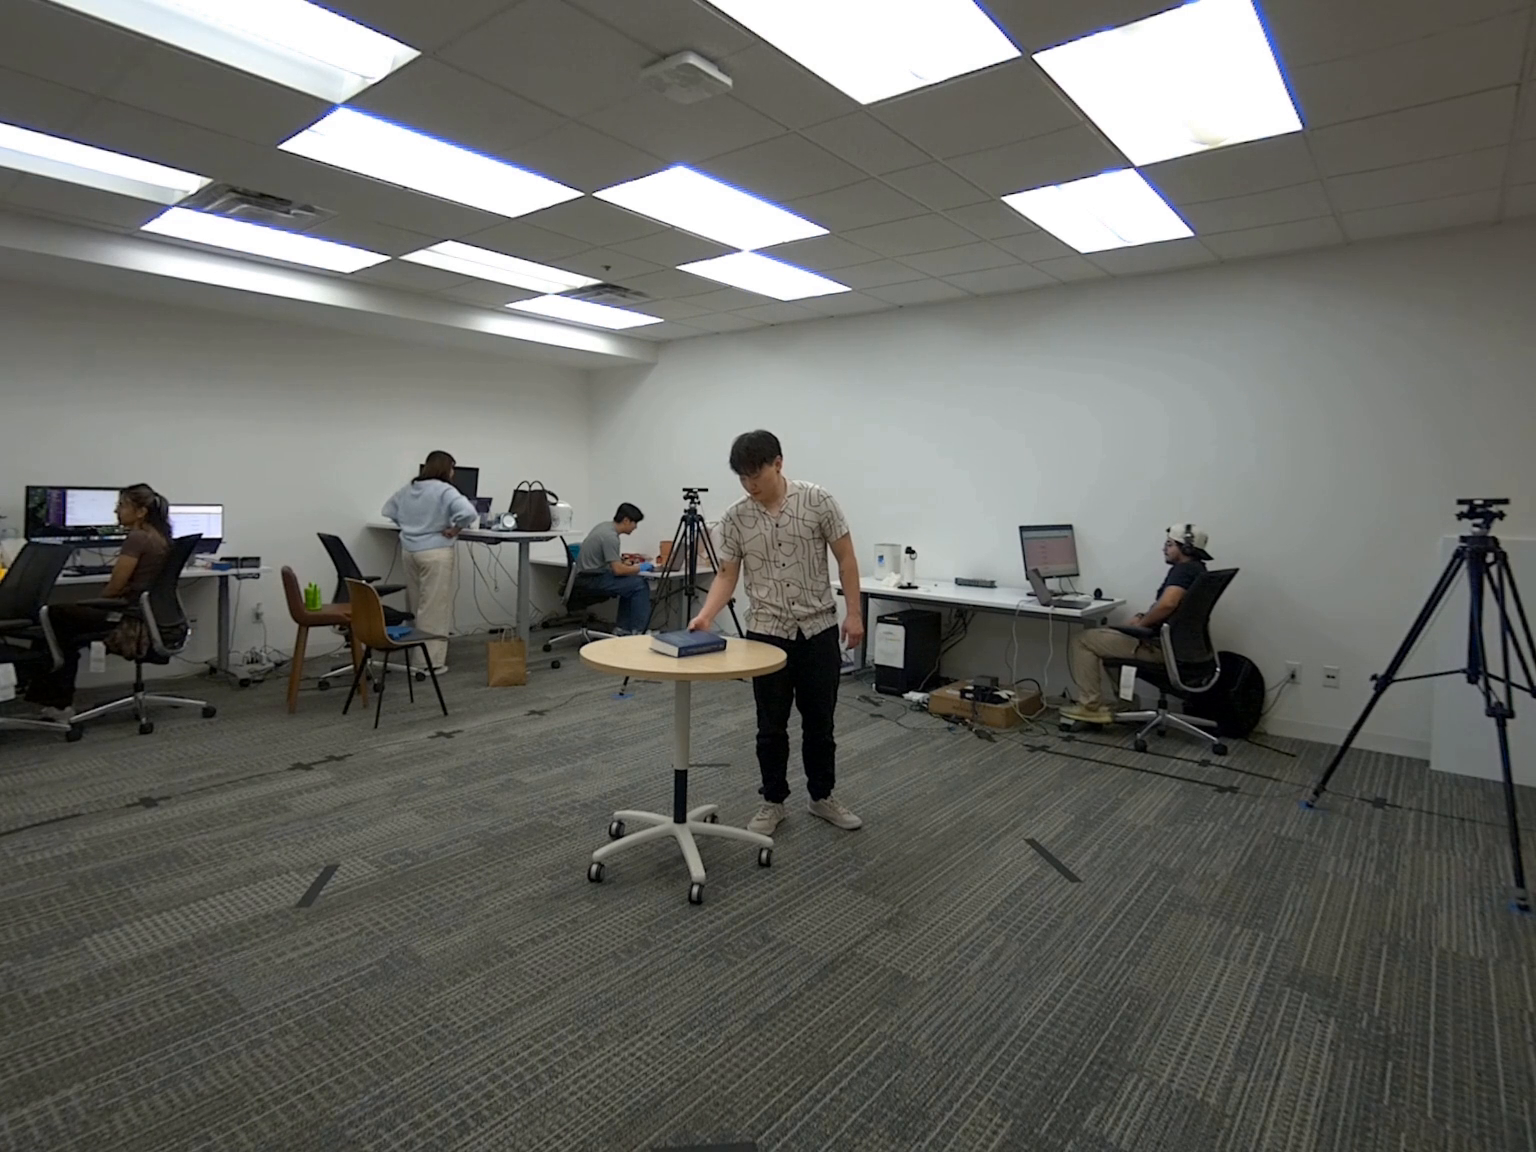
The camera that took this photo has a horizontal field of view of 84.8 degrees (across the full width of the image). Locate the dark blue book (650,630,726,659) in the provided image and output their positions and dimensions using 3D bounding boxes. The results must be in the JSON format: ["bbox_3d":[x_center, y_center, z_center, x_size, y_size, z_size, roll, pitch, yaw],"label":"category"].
[{"bbox_3d":[-0.306,0.254,3.152,0.238,0.045,0.169,-3,12,-41],"label":"dark blue book"}]
